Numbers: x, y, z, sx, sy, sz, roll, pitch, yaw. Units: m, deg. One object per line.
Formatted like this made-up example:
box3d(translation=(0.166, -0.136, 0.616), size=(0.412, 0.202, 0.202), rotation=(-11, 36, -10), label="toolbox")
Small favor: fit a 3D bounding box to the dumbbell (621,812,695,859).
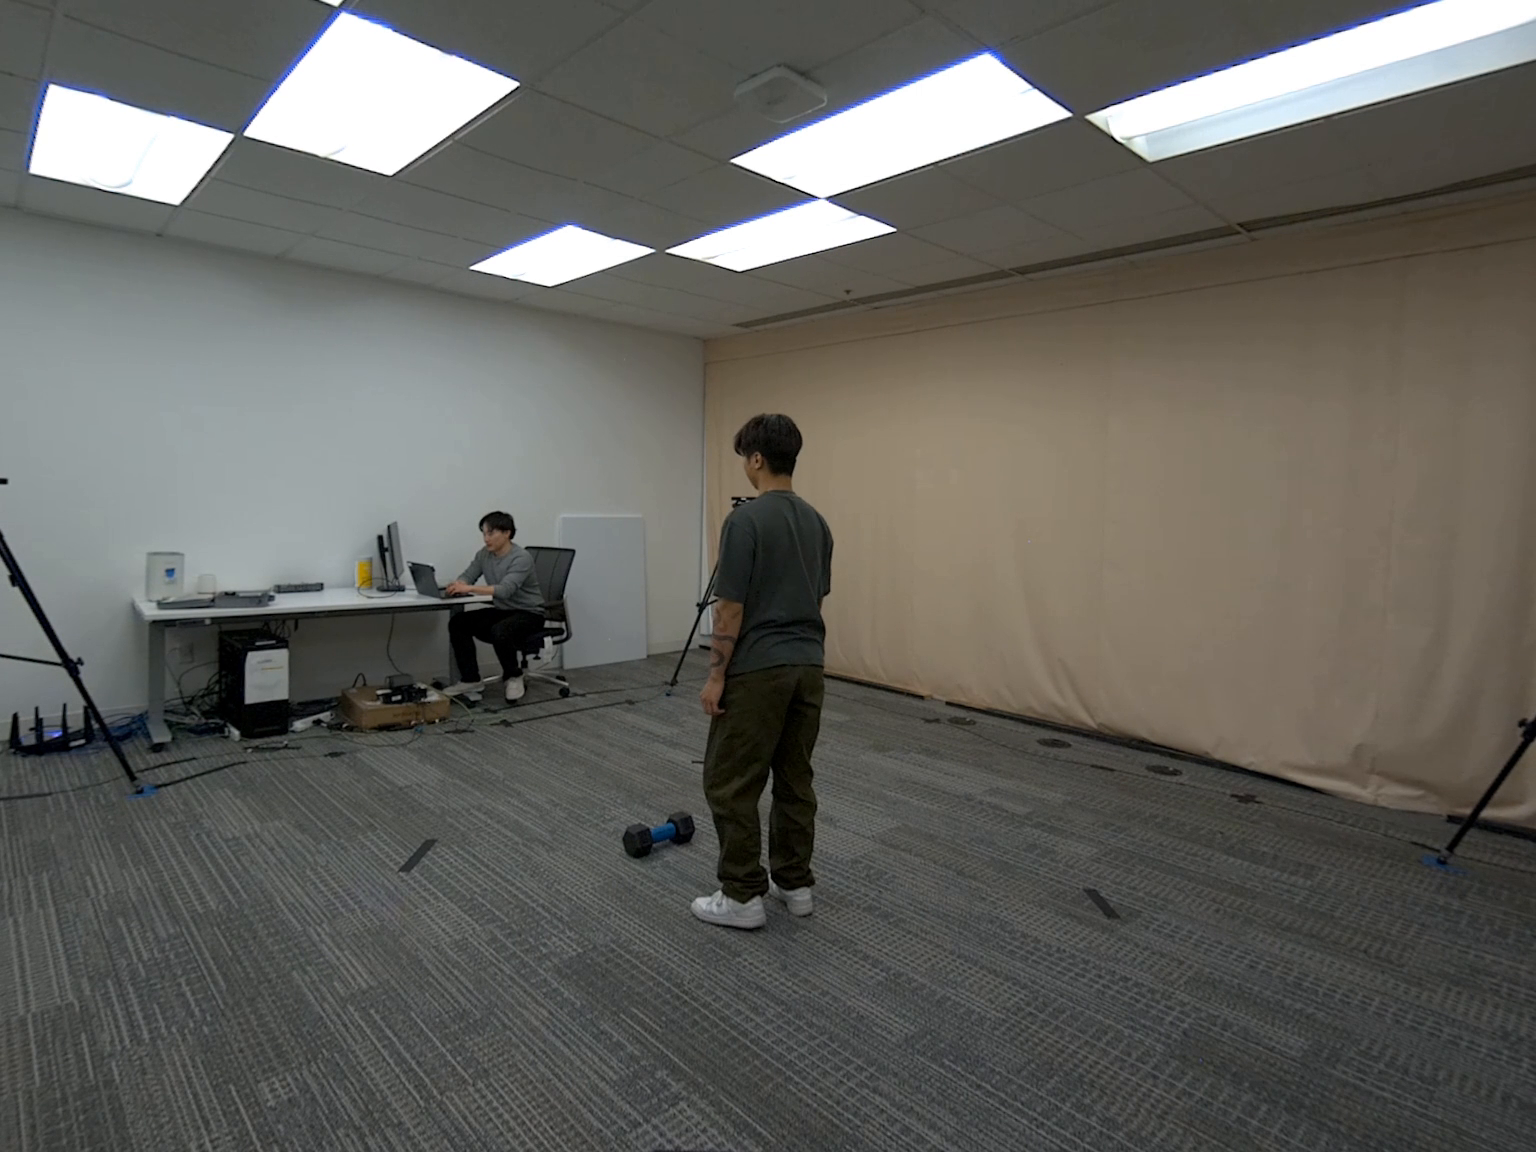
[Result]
box3d(translation=(-0.439, 1.025, 3.340), size=(0.287, 0.125, 0.109), rotation=(-3, -24, -44), label="dumbbell")
